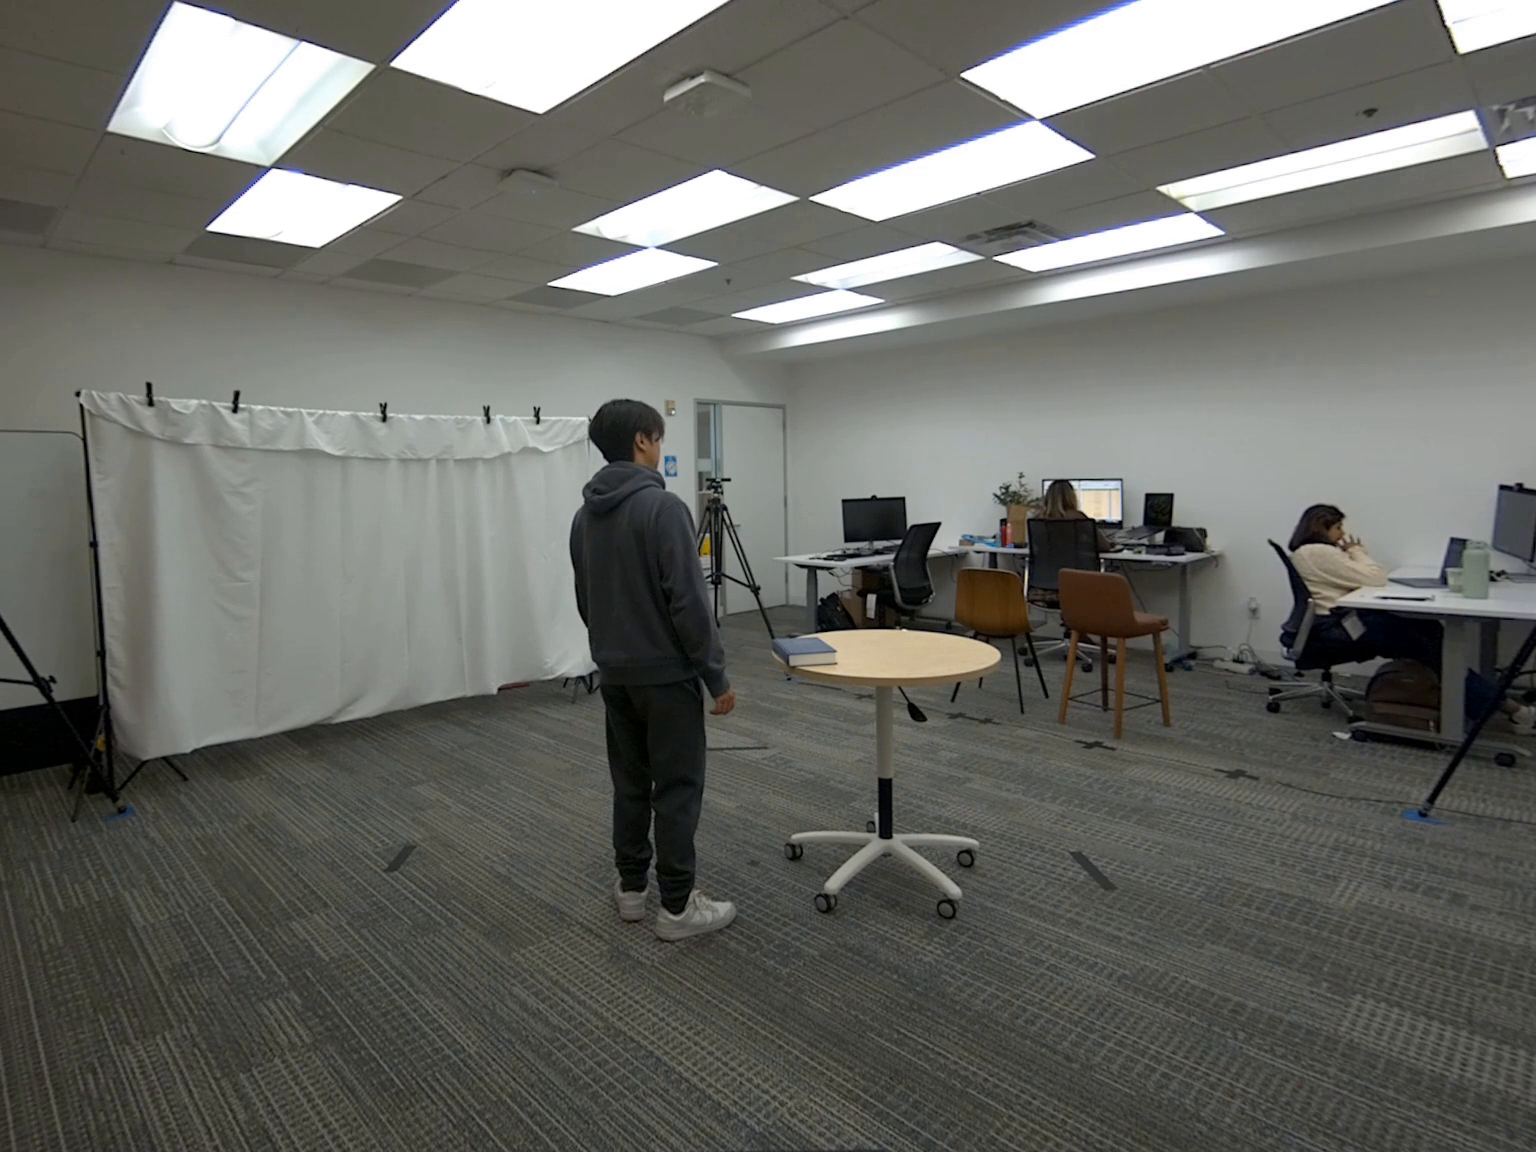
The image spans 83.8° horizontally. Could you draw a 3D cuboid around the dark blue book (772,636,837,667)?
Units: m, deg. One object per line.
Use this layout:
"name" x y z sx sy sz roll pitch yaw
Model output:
"dark blue book" 0.129 0.252 2.851 0.162 0.045 0.249 -2 7 -11
